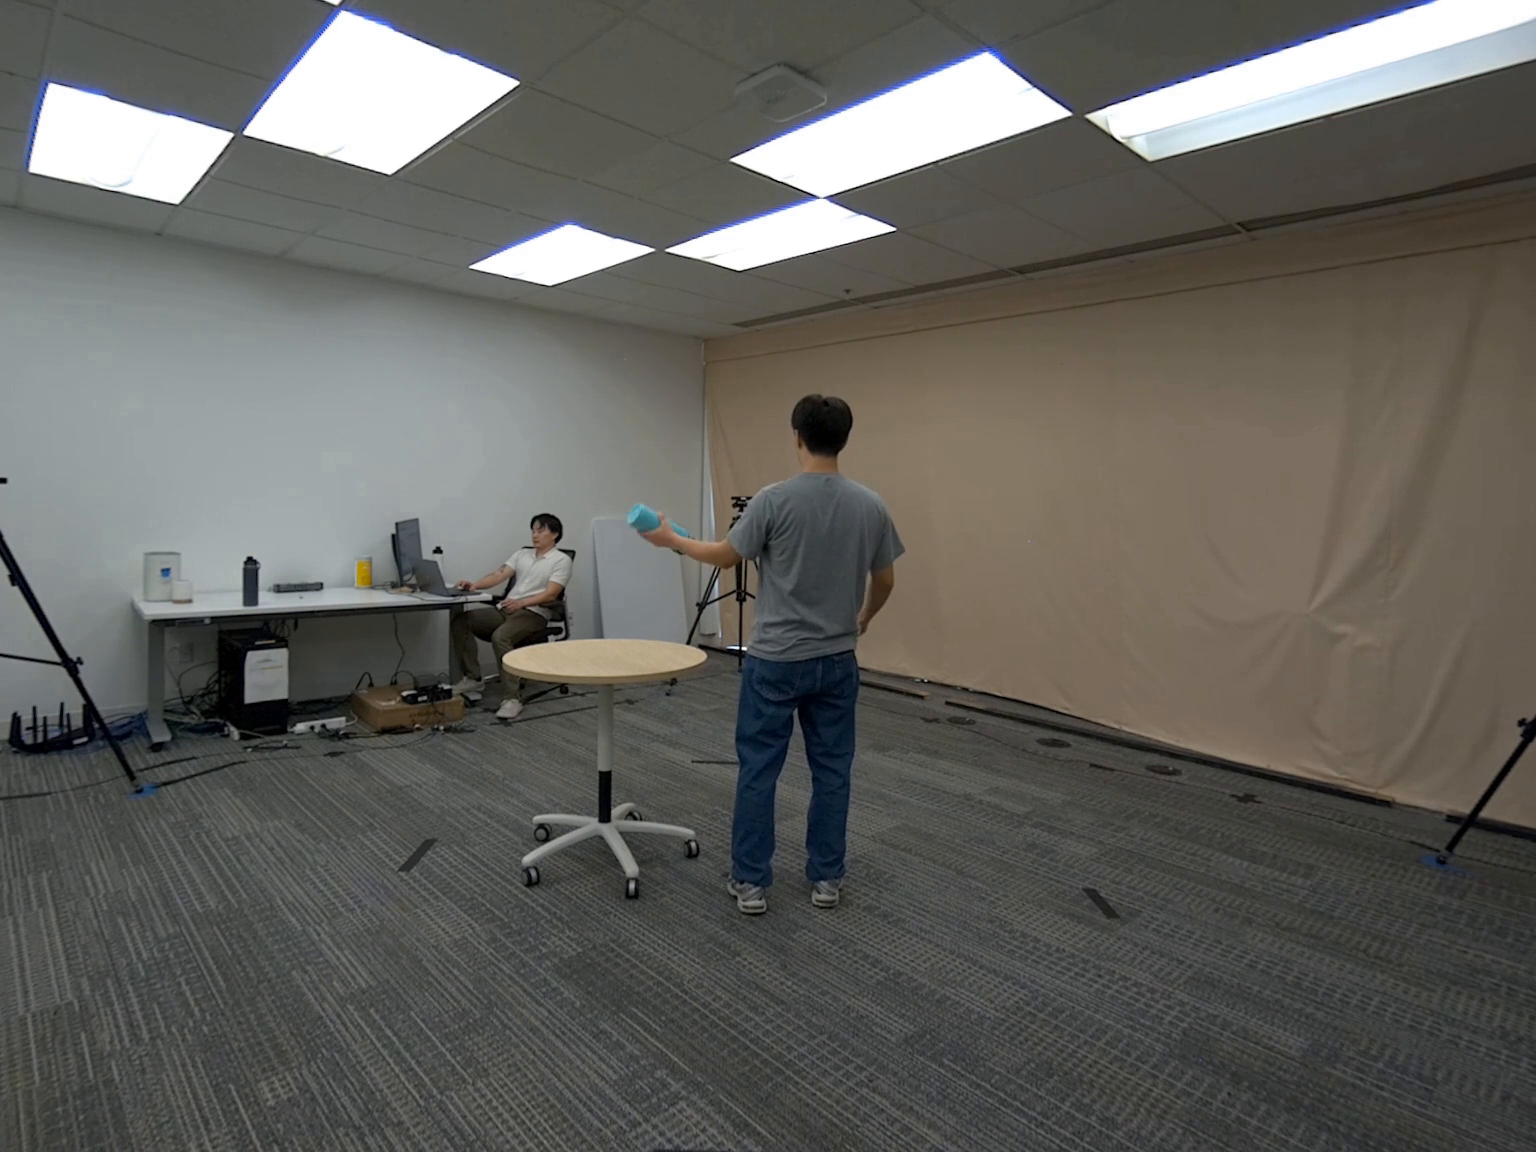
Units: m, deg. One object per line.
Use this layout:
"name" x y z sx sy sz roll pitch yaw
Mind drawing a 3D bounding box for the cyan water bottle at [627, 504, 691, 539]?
"cyan water bottle" -0.387 -0.170 3.162 0.275 0.092 0.094 31 -13 -31
